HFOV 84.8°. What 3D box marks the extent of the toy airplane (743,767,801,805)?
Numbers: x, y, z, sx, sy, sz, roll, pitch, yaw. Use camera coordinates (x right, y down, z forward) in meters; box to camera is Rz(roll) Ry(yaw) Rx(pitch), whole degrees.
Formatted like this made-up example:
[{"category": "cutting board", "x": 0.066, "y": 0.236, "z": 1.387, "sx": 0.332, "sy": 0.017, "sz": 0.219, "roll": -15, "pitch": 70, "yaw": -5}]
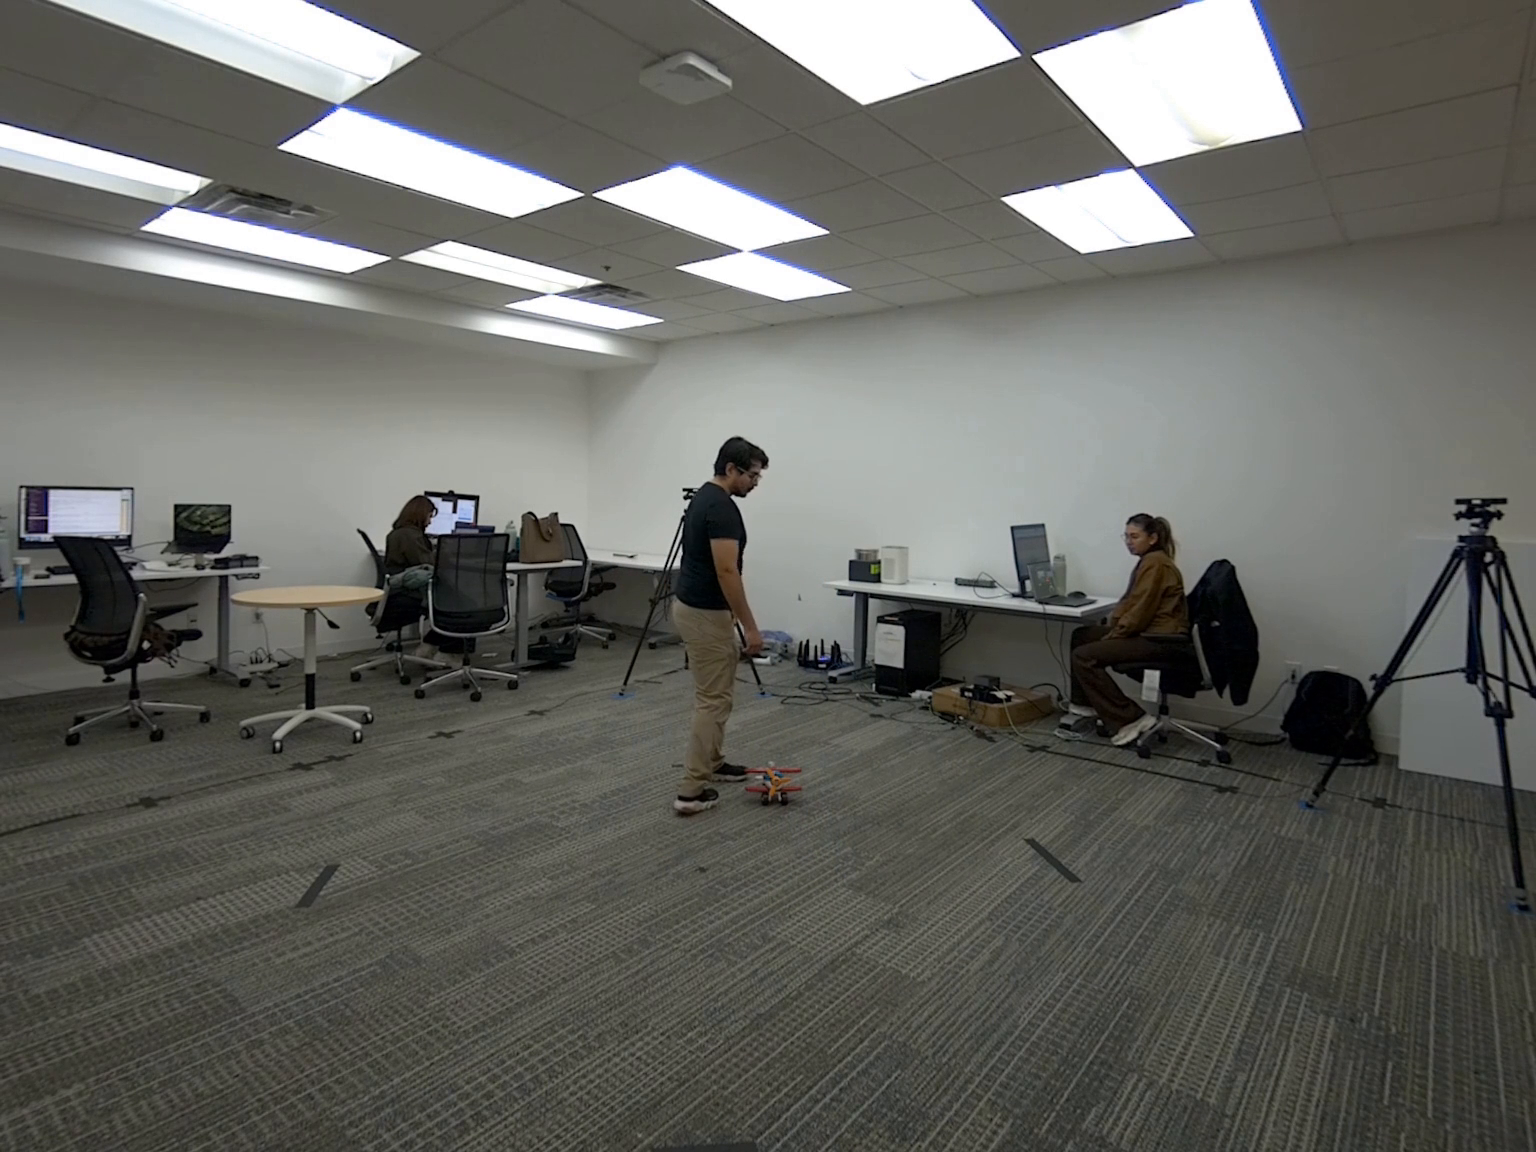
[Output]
[{"category": "toy airplane", "x": -0.004, "y": 0.930, "z": 3.850, "sx": 0.244, "sy": 0.156, "sz": 0.268, "roll": -3, "pitch": 8, "yaw": -35}]
